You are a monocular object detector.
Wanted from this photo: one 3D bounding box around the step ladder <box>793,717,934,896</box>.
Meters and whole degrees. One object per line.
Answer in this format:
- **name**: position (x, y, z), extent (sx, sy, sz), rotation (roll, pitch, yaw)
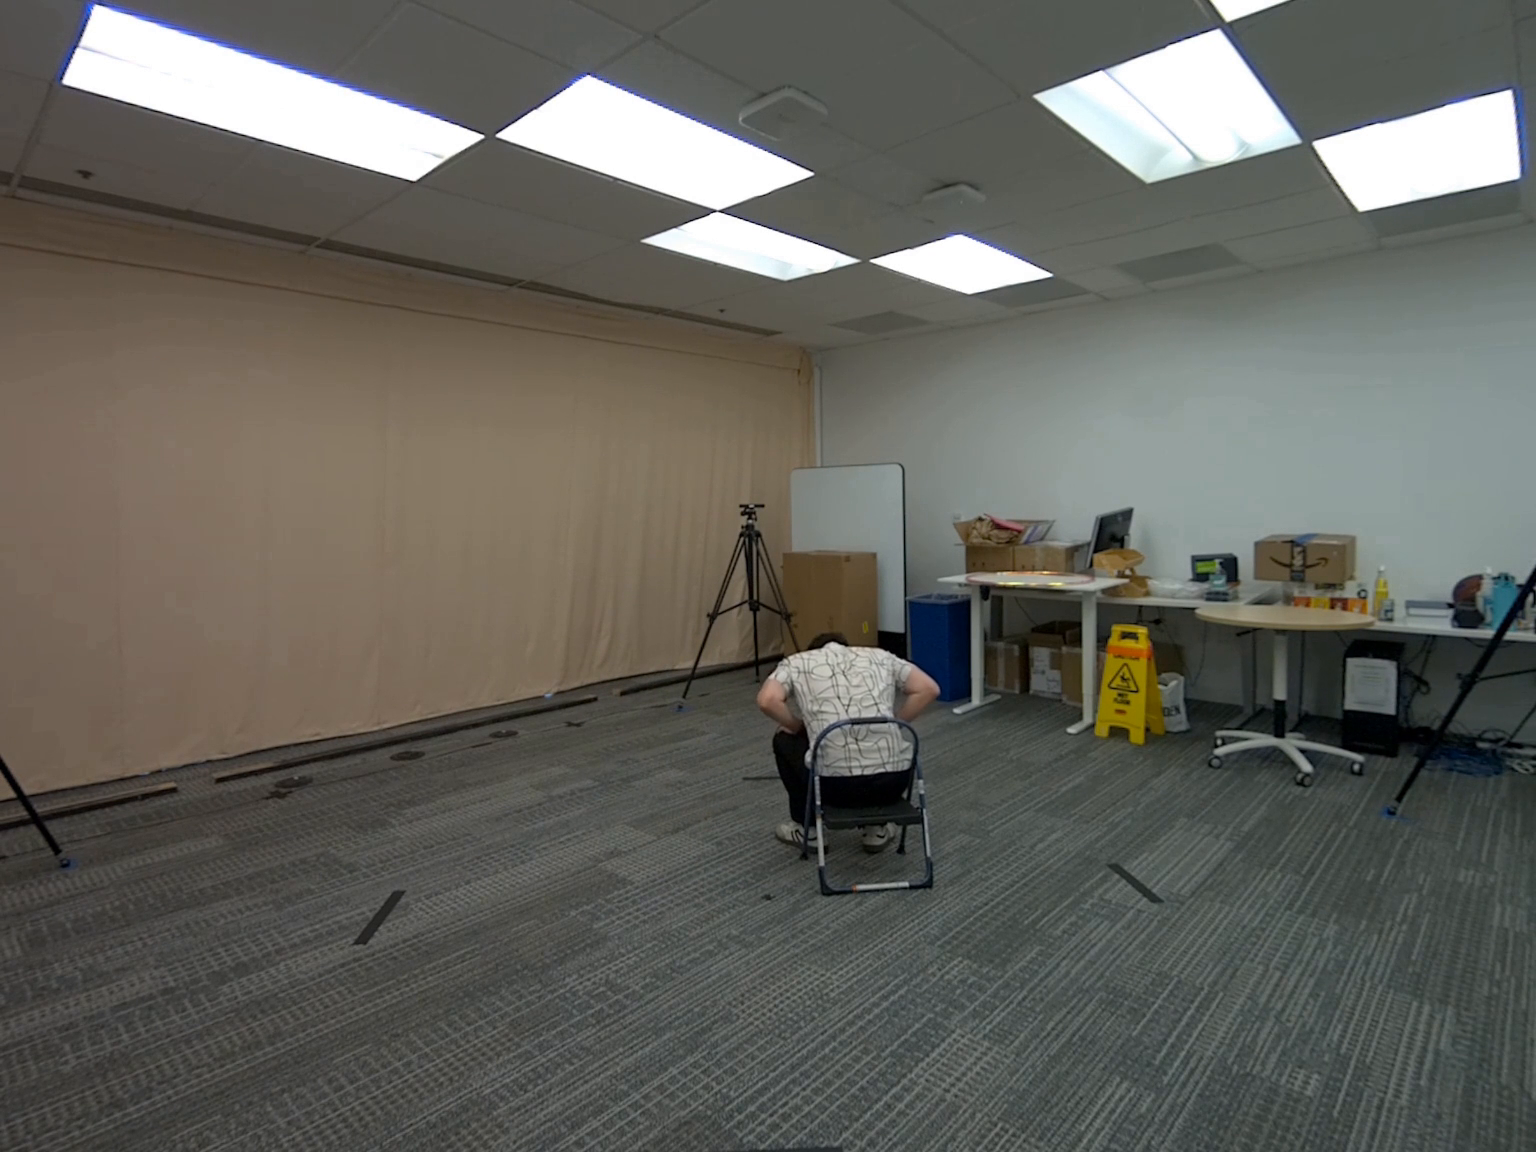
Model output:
- **step ladder**: position (0.361, 0.817, 3.157), extent (0.427, 0.605, 0.353), rotation (-1, 3, -9)
